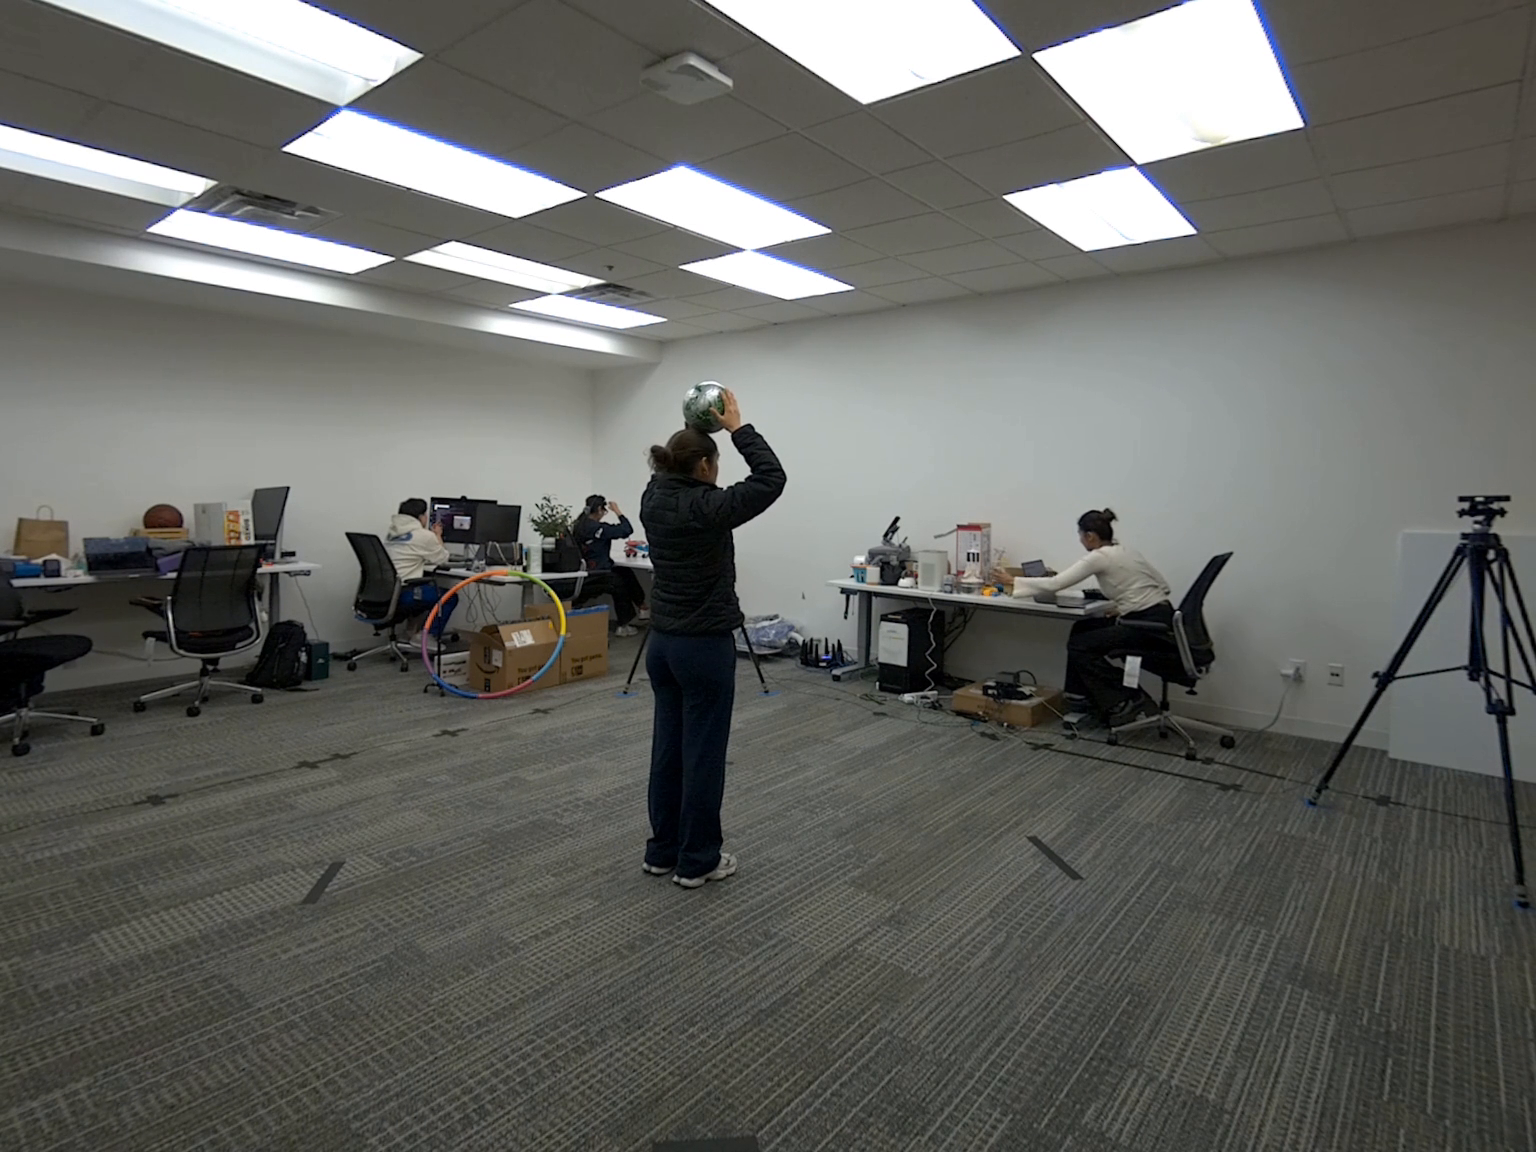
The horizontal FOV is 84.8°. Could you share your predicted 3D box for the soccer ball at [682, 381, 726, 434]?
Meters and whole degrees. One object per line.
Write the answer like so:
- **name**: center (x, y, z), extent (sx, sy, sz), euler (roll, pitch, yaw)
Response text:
- **soccer ball**: center (-0.225, -0.611, 3.072), extent (0.187, 0.187, 0.188), euler (1, 4, -2)
